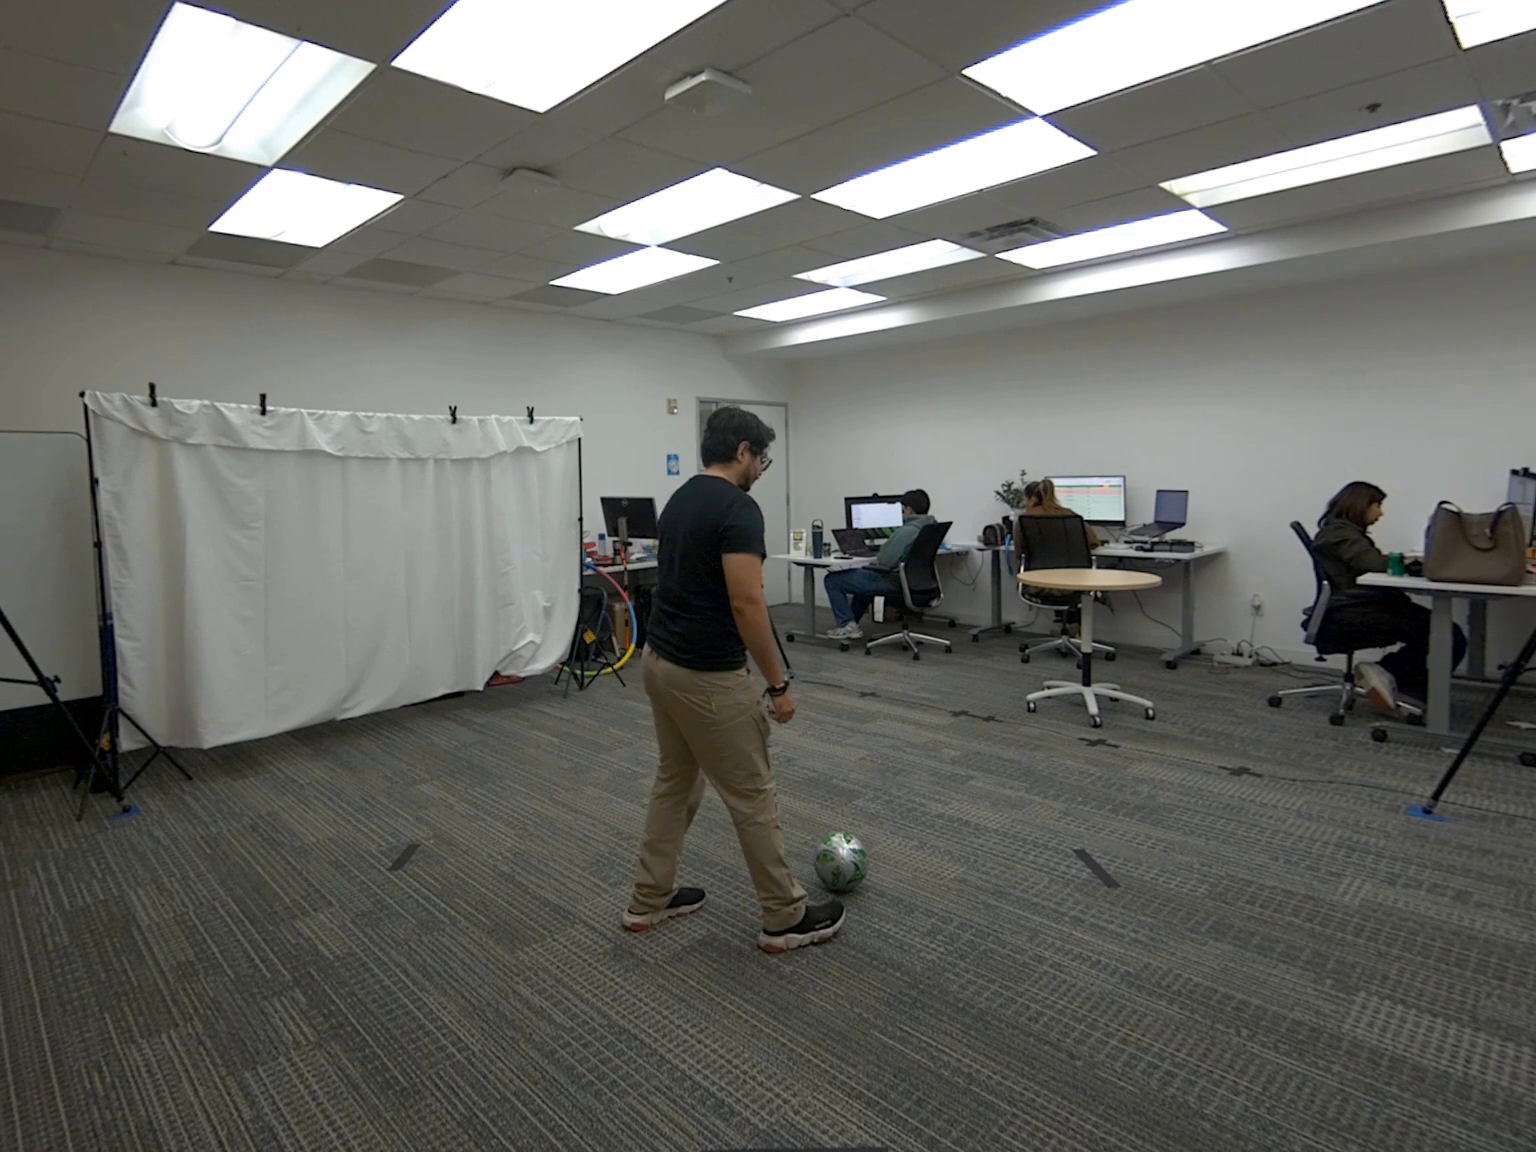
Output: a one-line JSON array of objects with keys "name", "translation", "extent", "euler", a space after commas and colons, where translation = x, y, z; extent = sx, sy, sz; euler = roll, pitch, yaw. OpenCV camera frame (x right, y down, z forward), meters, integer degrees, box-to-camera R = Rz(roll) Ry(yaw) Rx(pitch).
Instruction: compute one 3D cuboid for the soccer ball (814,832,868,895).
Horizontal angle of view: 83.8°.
[{"name": "soccer ball", "translation": [0.249, 0.960, 2.887], "extent": [0.187, 0.187, 0.188], "euler": [-1, 5, -2]}]
